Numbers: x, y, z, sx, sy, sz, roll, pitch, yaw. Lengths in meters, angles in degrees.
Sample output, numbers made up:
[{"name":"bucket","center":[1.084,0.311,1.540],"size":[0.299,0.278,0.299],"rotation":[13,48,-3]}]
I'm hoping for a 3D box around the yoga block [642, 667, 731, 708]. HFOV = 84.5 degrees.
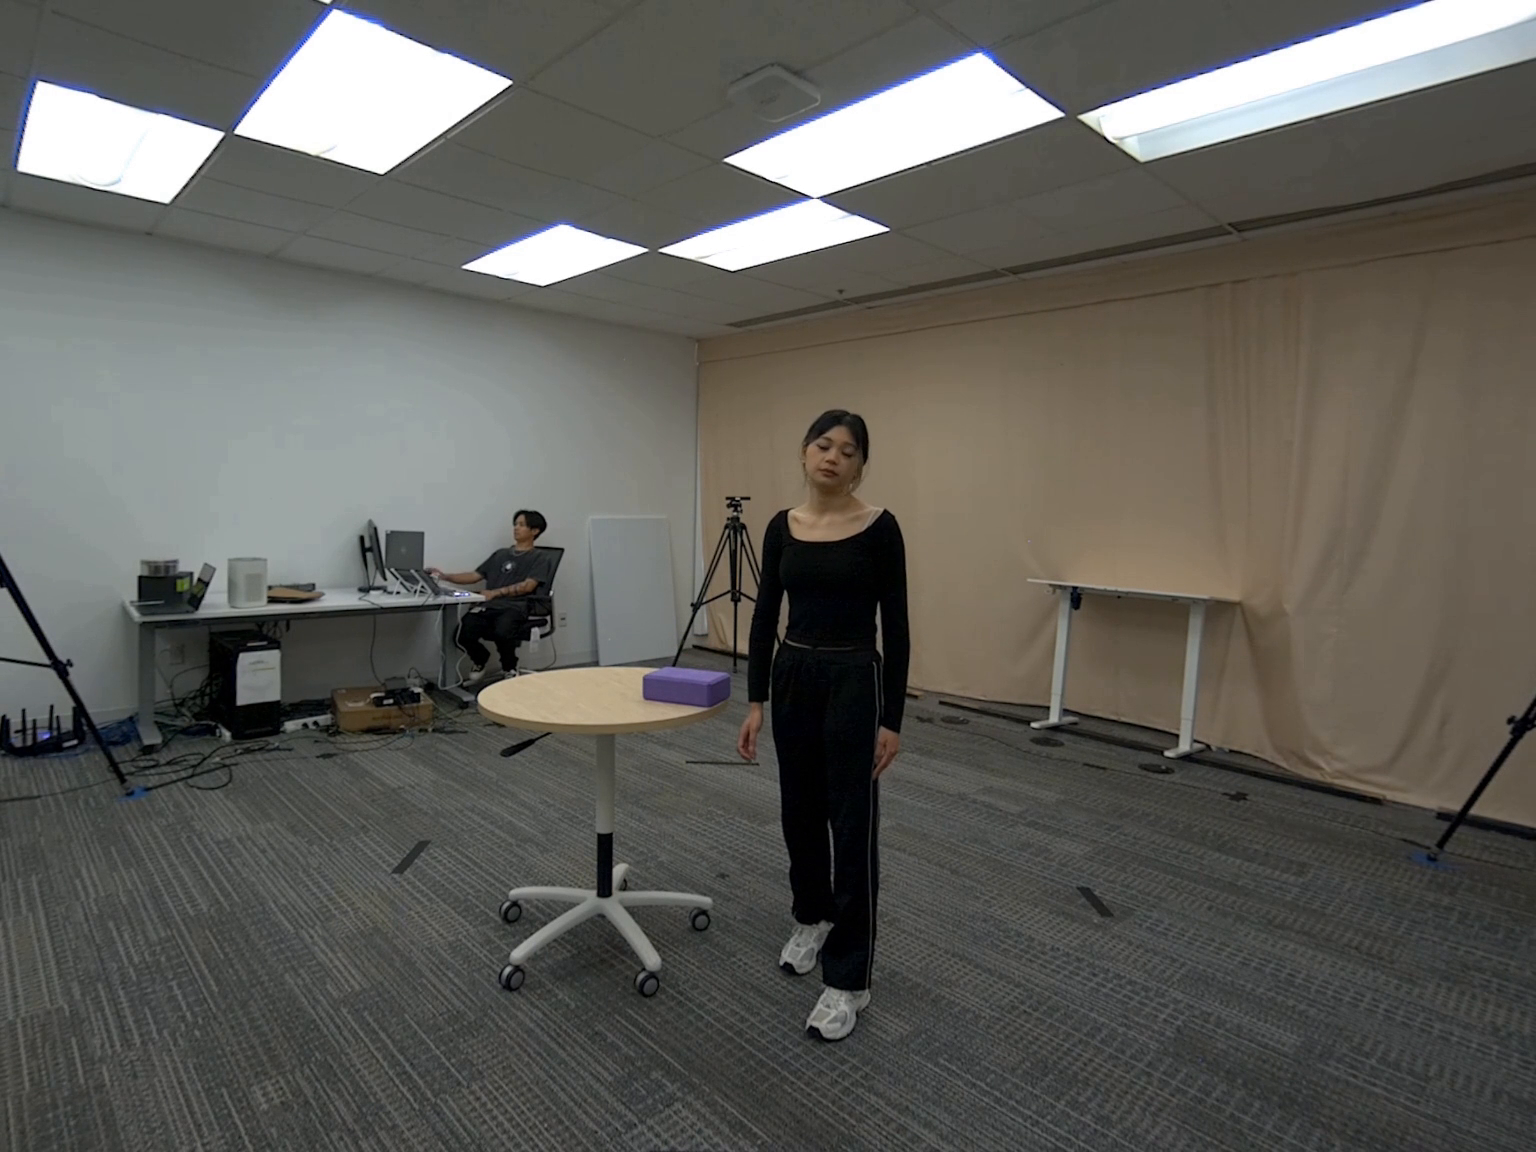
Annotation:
[{"name":"yoga block","center":[-0.246,0.333,2.514],"size":[0.234,0.076,0.147],"rotation":[2,6,25]}]
